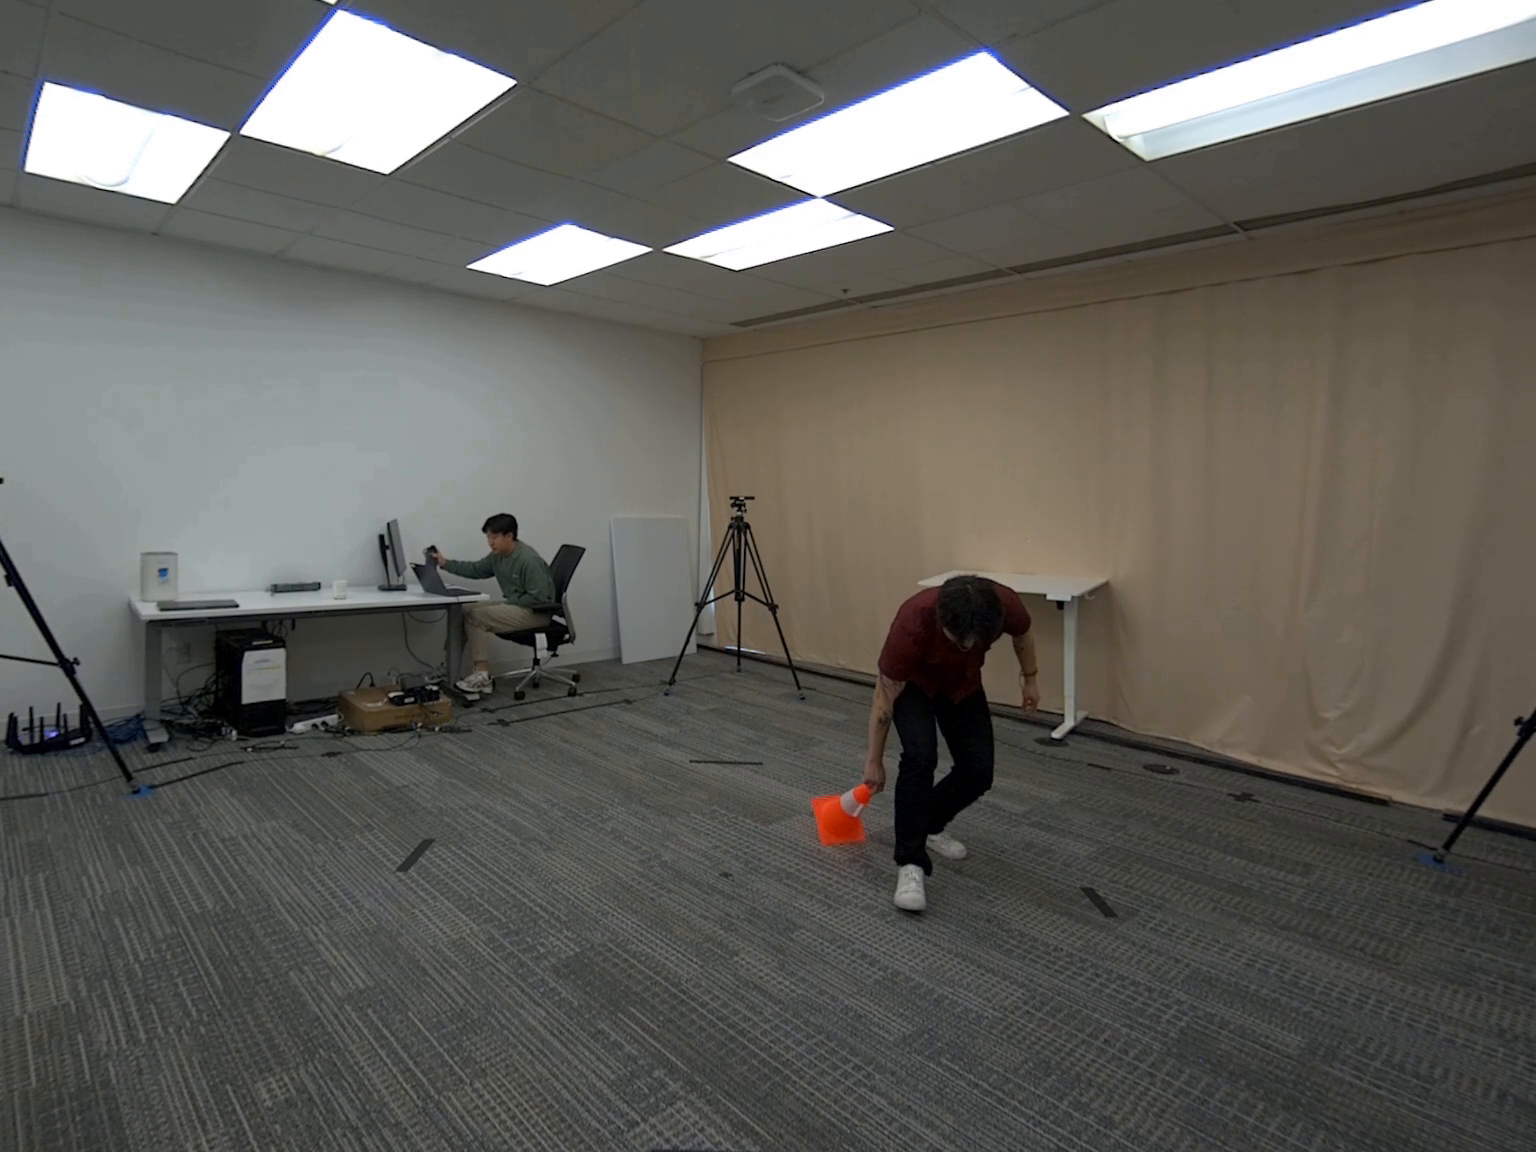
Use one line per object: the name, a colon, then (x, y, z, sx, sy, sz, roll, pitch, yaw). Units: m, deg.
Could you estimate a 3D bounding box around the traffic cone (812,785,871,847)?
traffic cone: (0.348, 0.901, 3.339, 0.201, 0.208, 0.381, 4, -35, -21)
